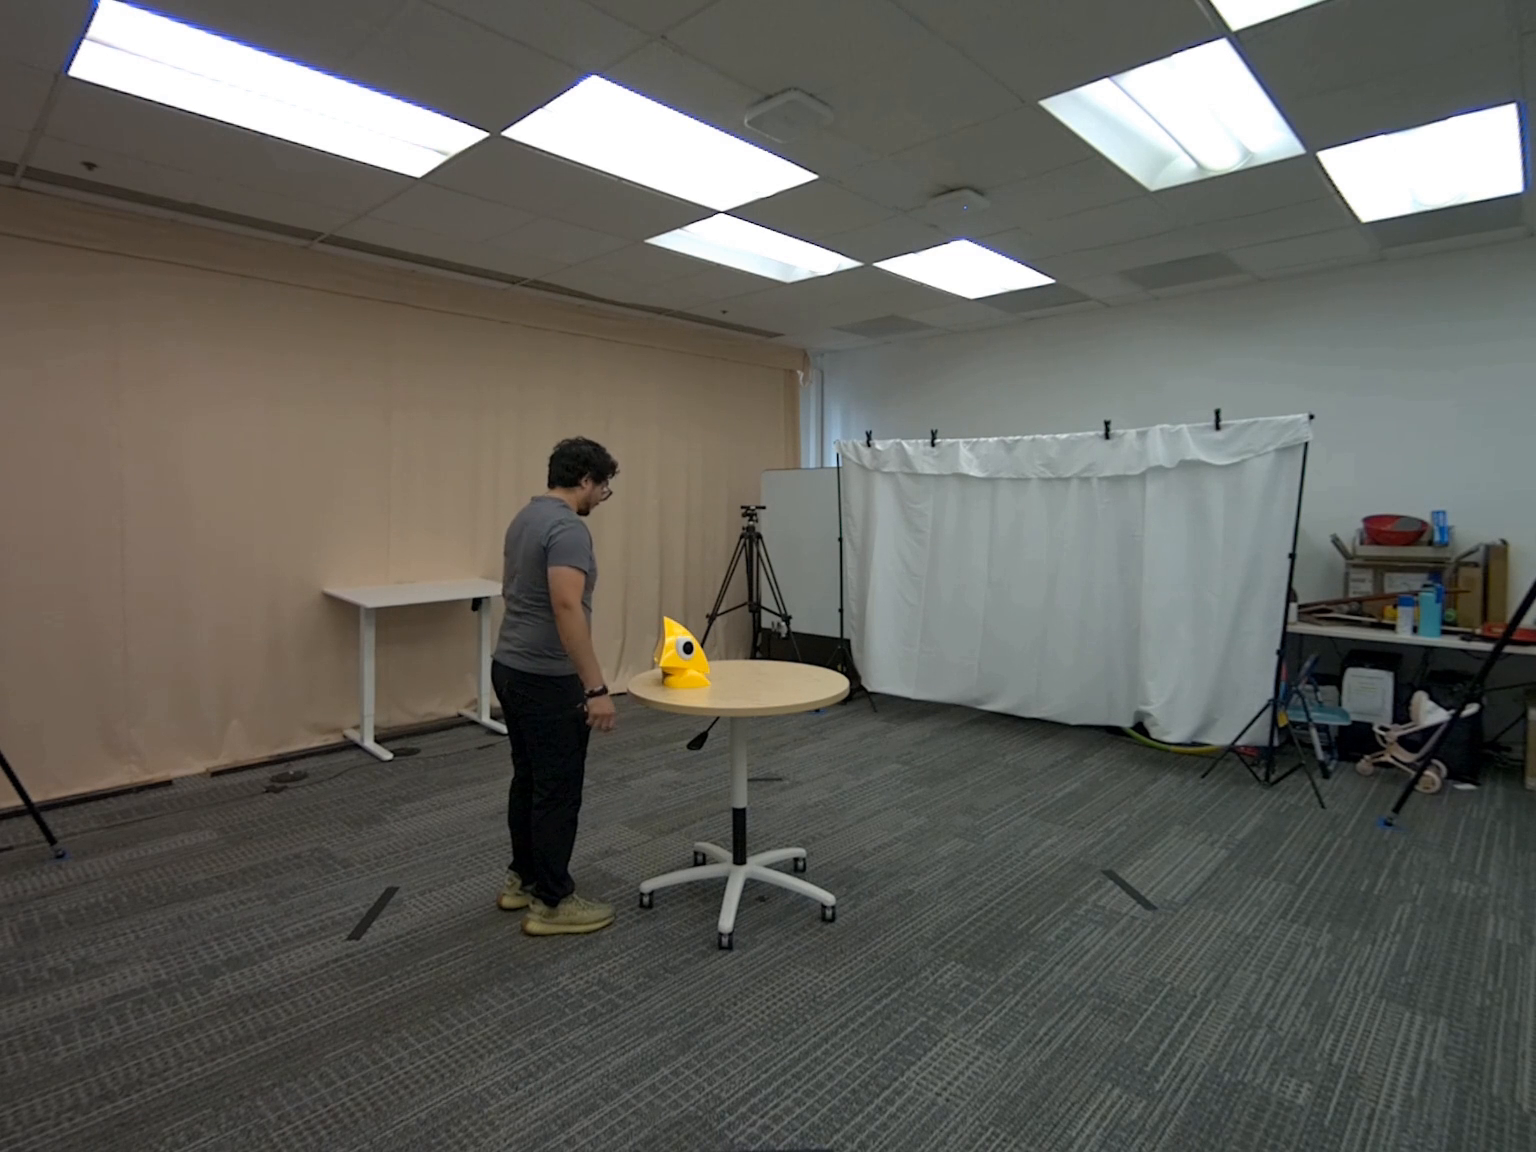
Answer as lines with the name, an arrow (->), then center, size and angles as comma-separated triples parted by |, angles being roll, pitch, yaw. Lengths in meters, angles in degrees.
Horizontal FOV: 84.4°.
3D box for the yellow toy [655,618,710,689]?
yellow toy -> -0.292, 0.255, 2.909 | 0.191, 0.230, 0.208 | -2, 4, -12
